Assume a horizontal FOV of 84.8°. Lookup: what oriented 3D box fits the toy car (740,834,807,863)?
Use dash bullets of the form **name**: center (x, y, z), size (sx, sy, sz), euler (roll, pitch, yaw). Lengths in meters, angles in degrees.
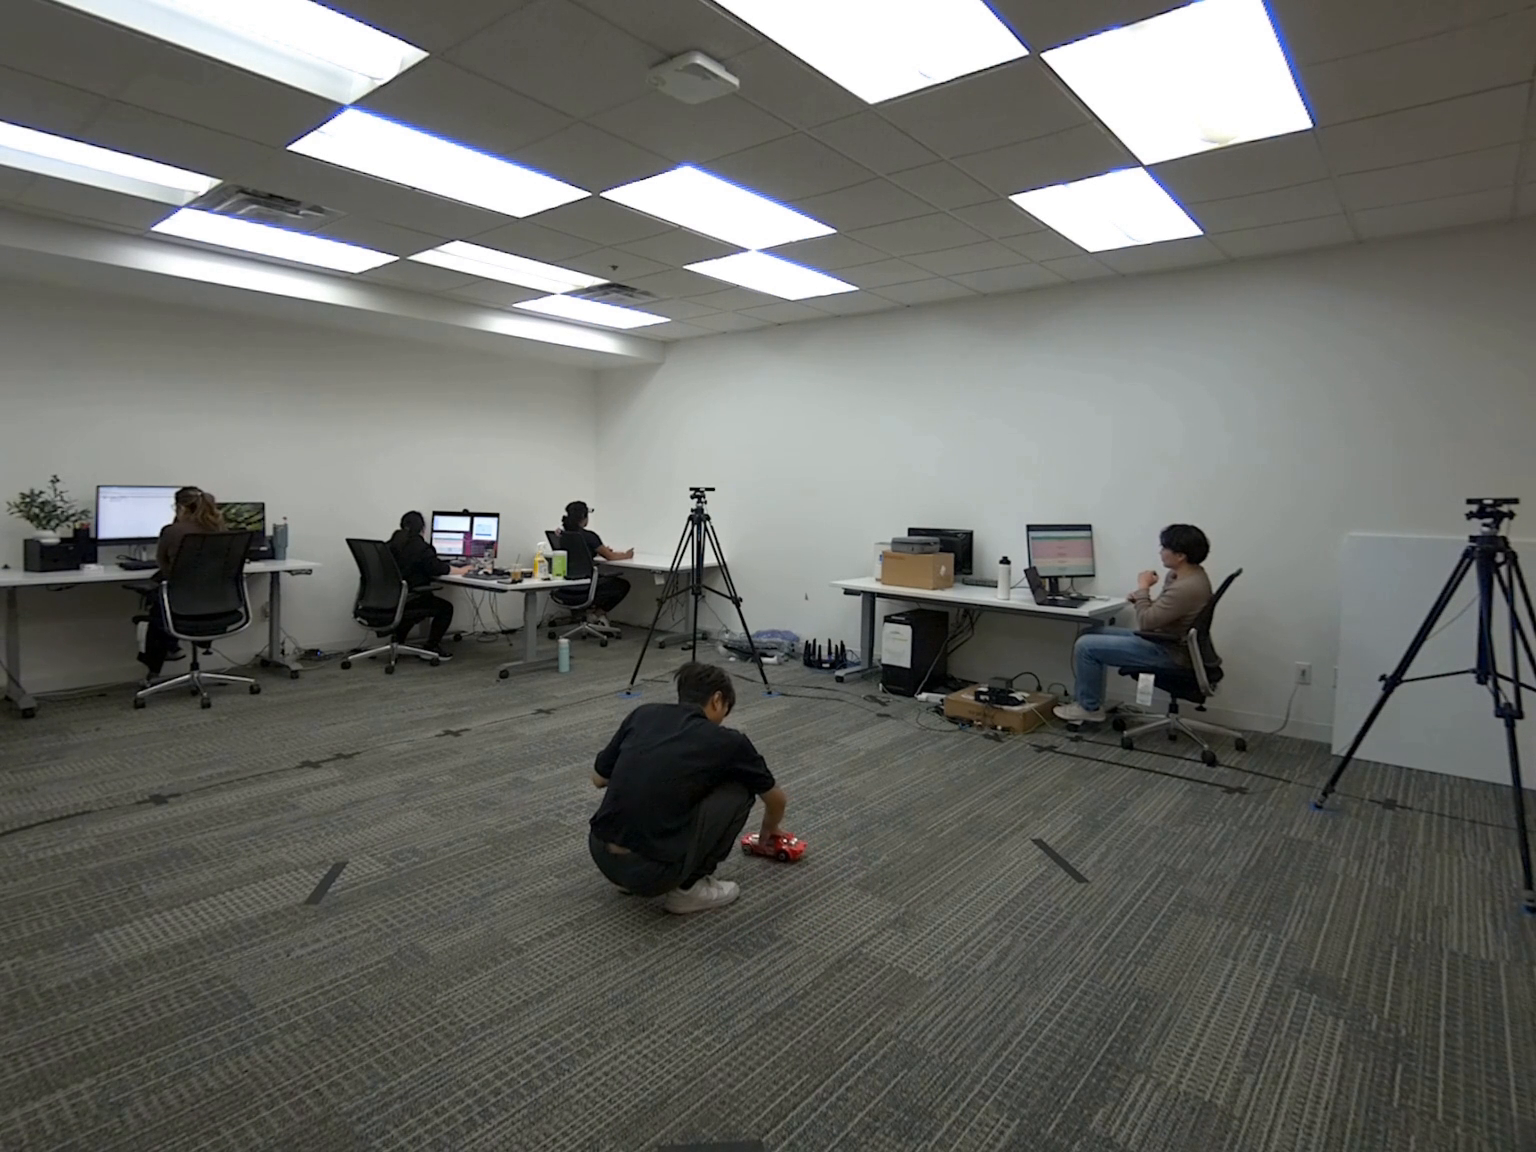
- **toy car**: center (0.024, 1.029, 3.238), size (0.259, 0.083, 0.128), euler (-8, 0, 23)
